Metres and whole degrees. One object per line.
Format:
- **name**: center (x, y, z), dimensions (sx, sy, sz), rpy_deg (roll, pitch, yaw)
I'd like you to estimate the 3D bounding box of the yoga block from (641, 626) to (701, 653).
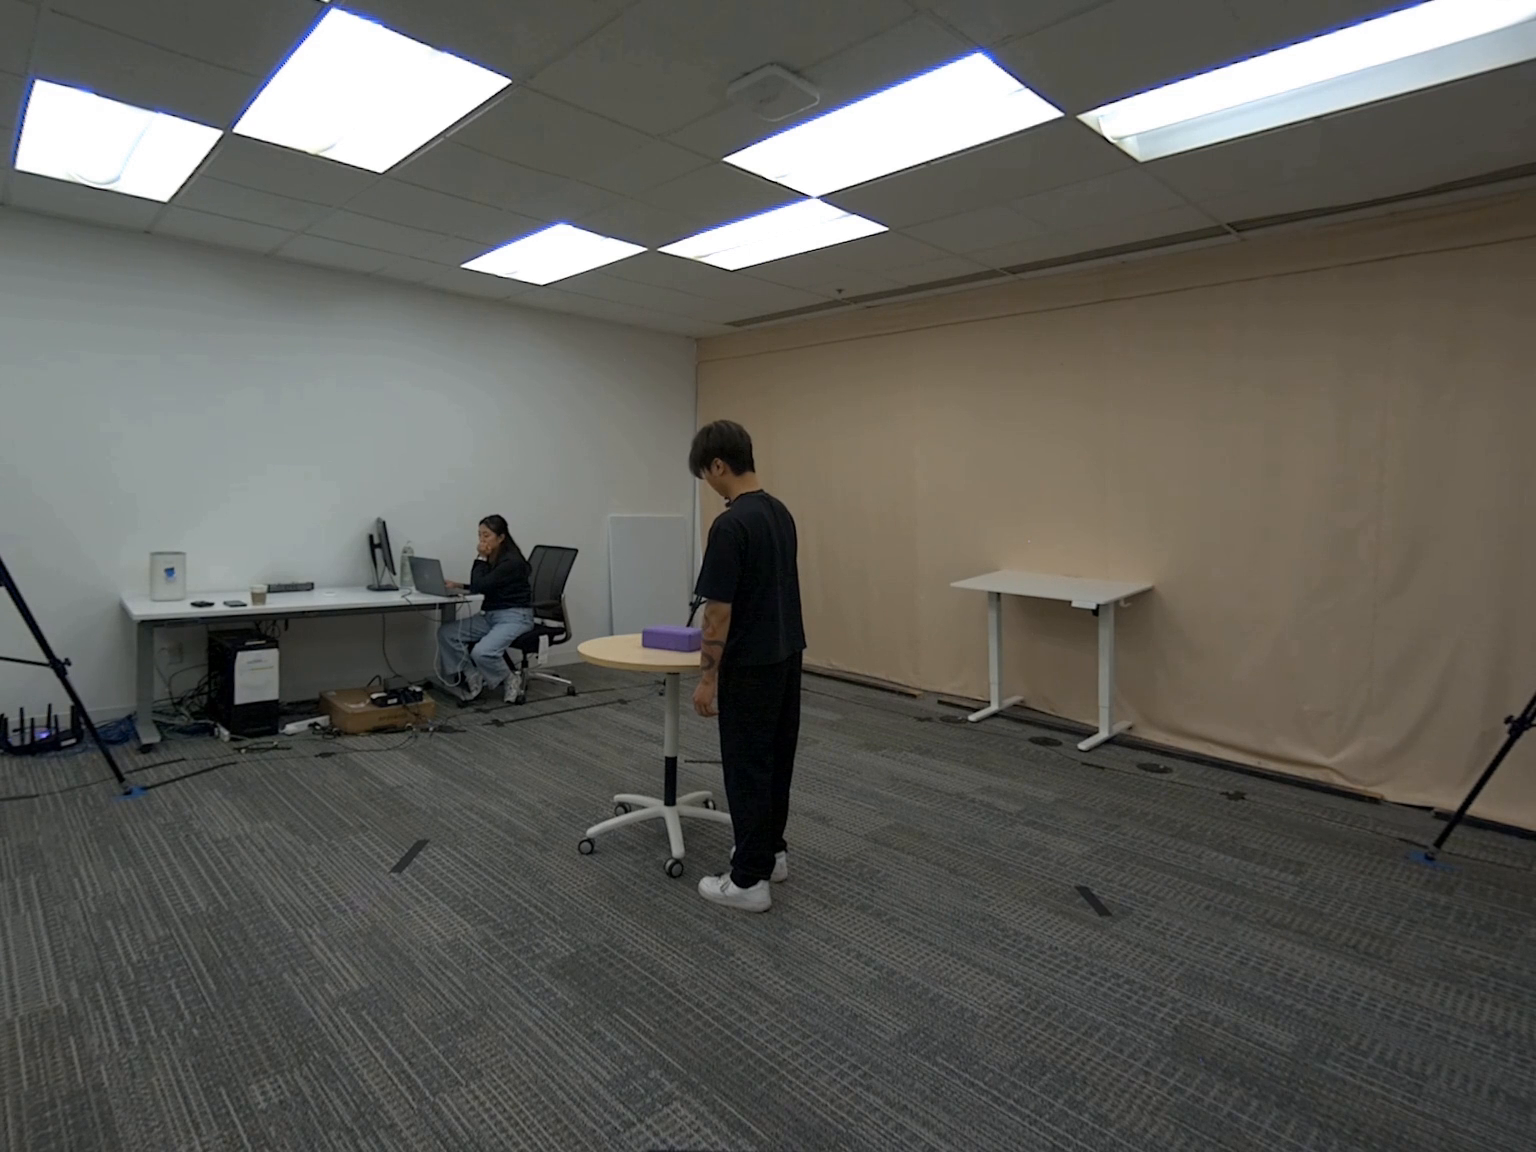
- **yoga block**: center (-0.388, 0.251, 3.398), dimensions (0.233, 0.076, 0.147), rpy_deg (3, 5, 23)
